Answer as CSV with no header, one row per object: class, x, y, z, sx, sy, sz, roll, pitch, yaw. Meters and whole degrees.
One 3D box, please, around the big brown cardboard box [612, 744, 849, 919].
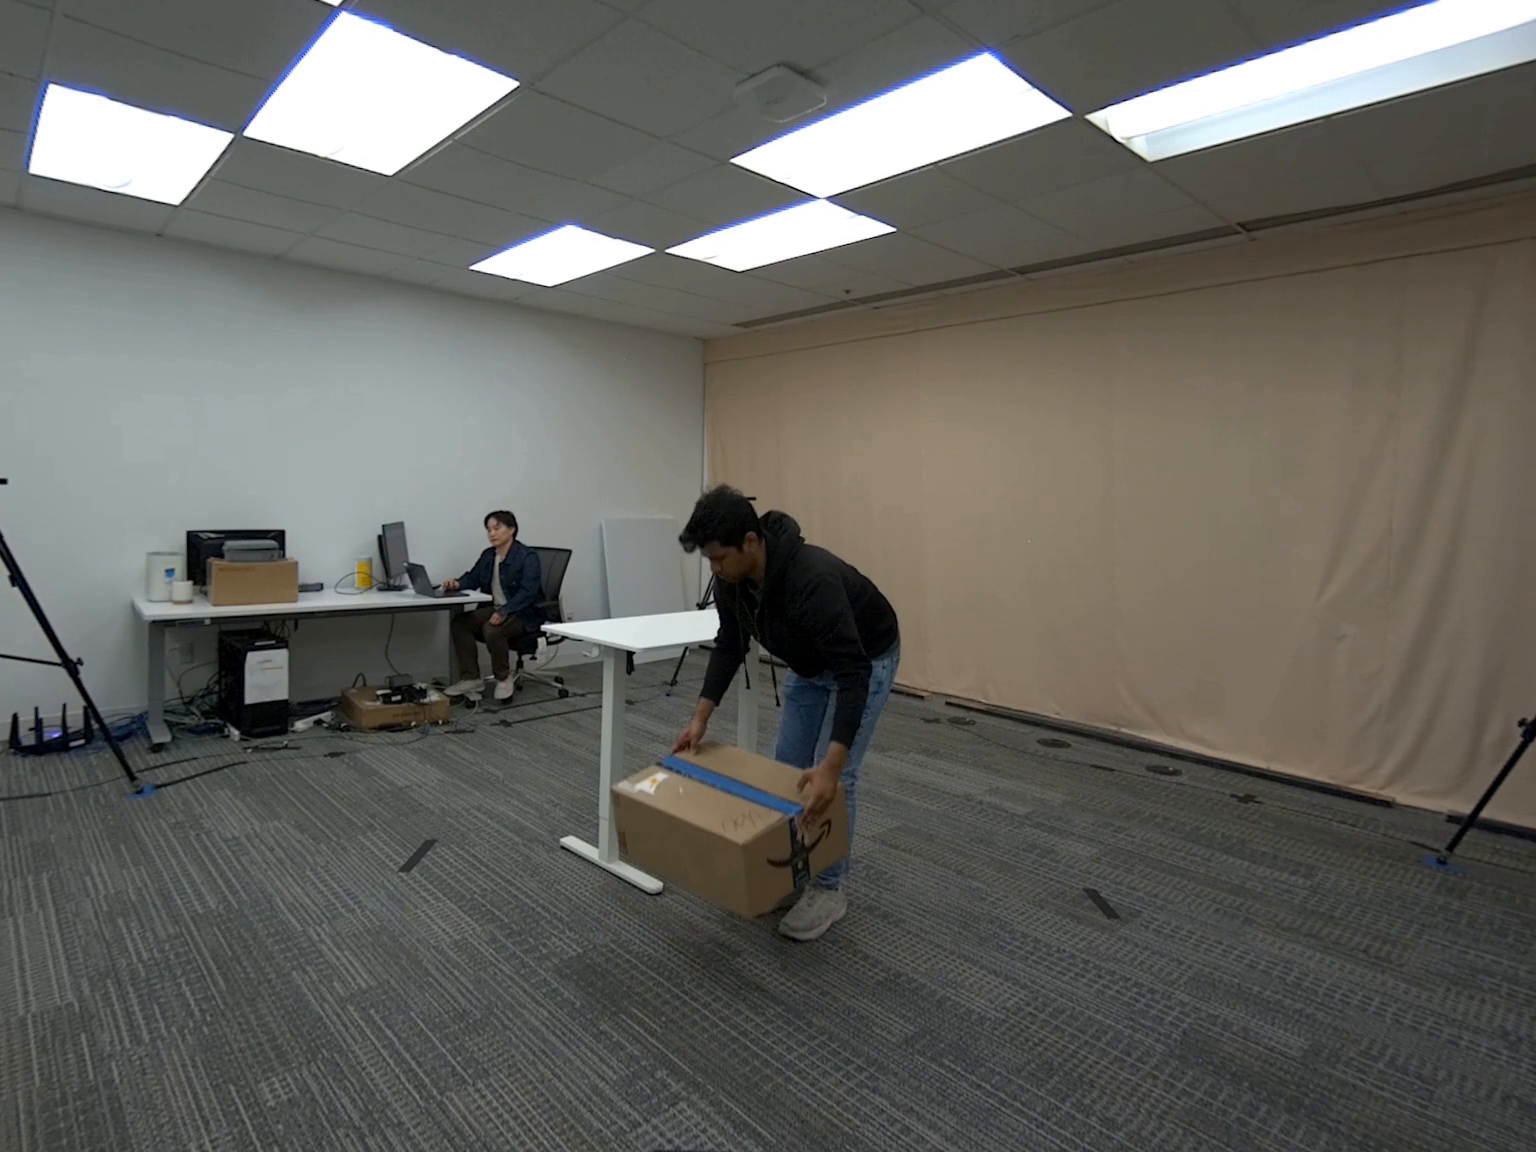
big brown cardboard box,-0.131,0.714,2.487,0.604,0.231,0.410,7,17,43
